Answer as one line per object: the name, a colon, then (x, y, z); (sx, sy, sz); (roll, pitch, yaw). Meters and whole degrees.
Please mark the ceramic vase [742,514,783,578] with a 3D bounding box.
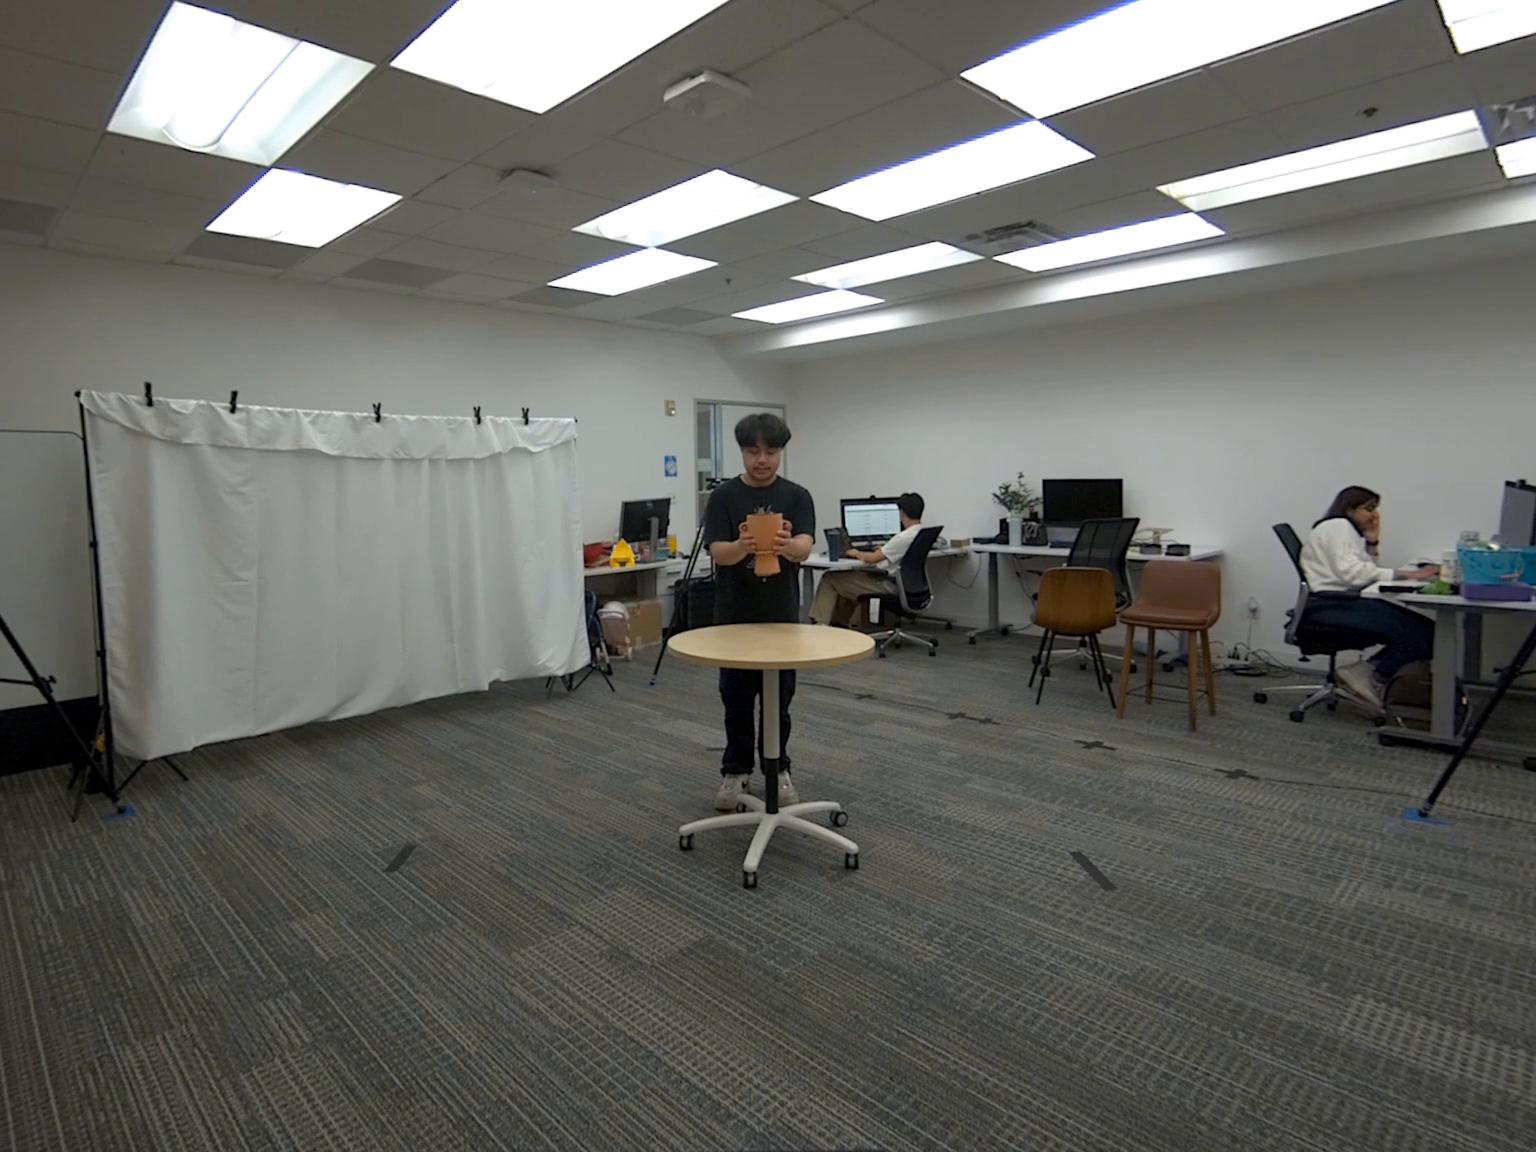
ceramic vase: (-0.010, -0.121, 3.246); (0.163, 0.218, 0.131); (4, 8, 38)
